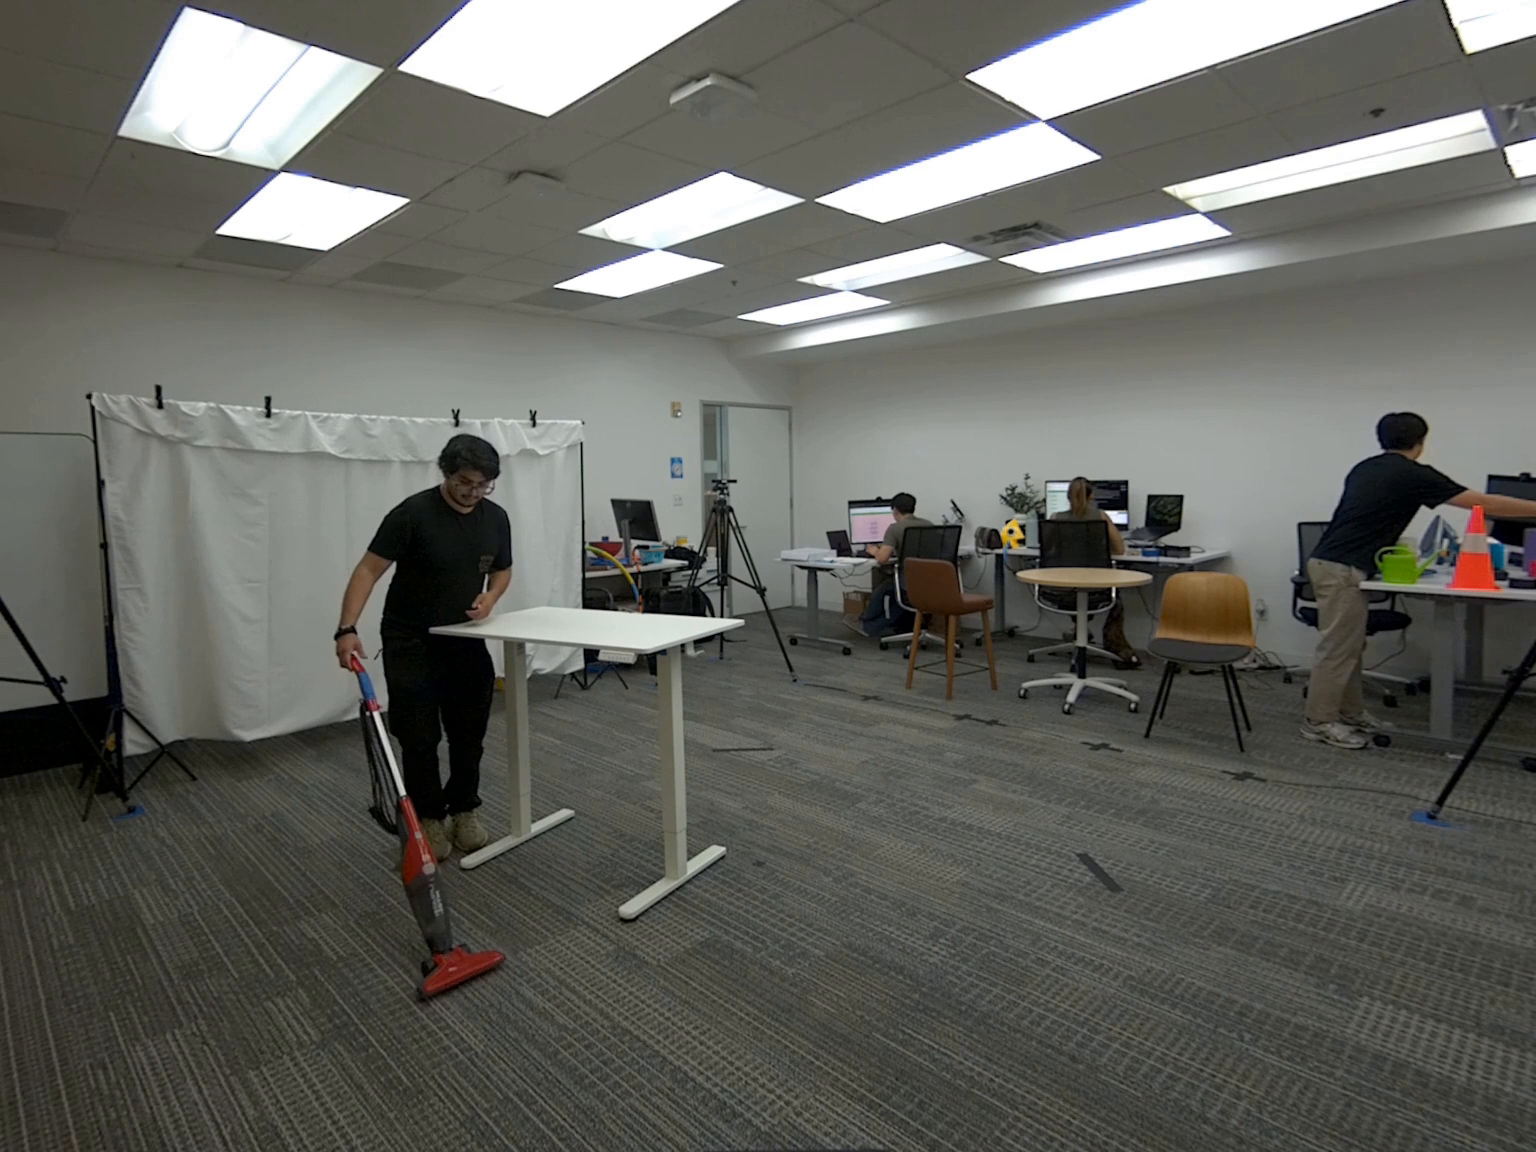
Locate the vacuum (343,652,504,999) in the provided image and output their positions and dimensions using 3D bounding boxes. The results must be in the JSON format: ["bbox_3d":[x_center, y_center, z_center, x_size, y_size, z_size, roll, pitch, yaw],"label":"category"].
[{"bbox_3d":[-1.125,0.703,2.648,0.246,1.080,0.144,-4,-35,-44],"label":"vacuum"}]
